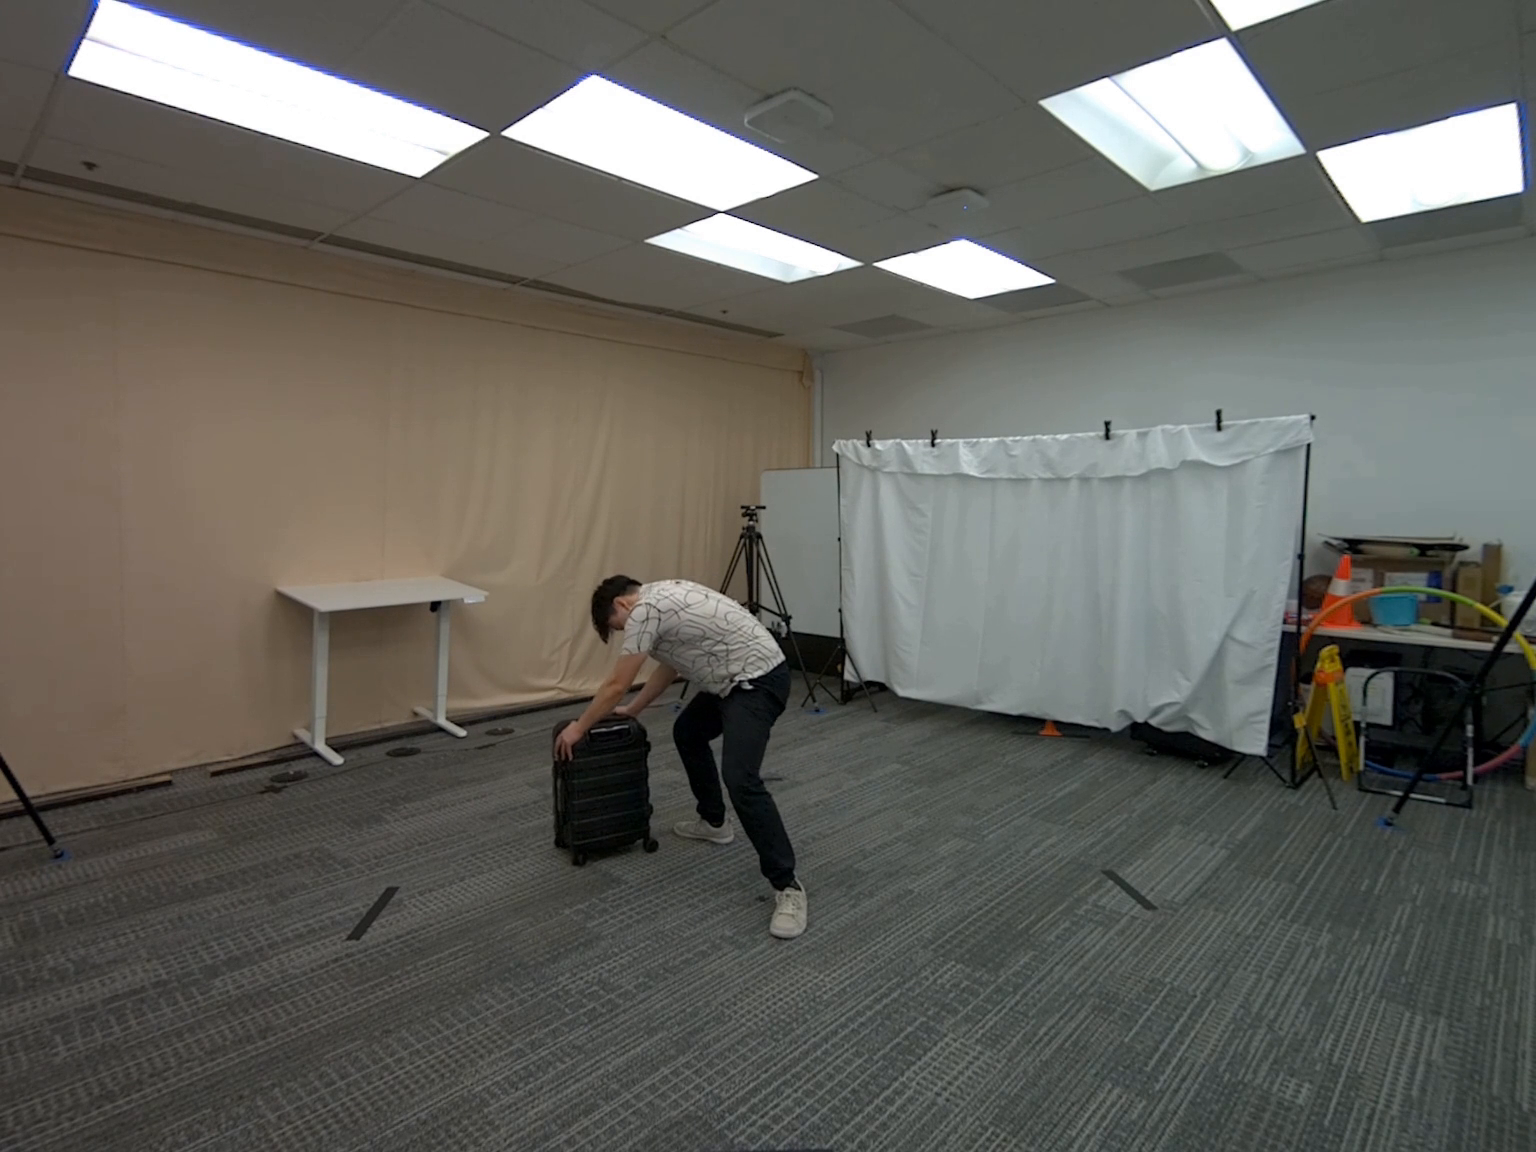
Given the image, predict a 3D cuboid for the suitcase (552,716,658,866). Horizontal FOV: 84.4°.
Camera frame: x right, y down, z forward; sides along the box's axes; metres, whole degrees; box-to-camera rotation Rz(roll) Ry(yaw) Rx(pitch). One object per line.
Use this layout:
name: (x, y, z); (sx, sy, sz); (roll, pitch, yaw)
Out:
suitcase: (-0.677, 0.847, 3.406); (0.366, 0.548, 0.255); (-4, 5, -30)
